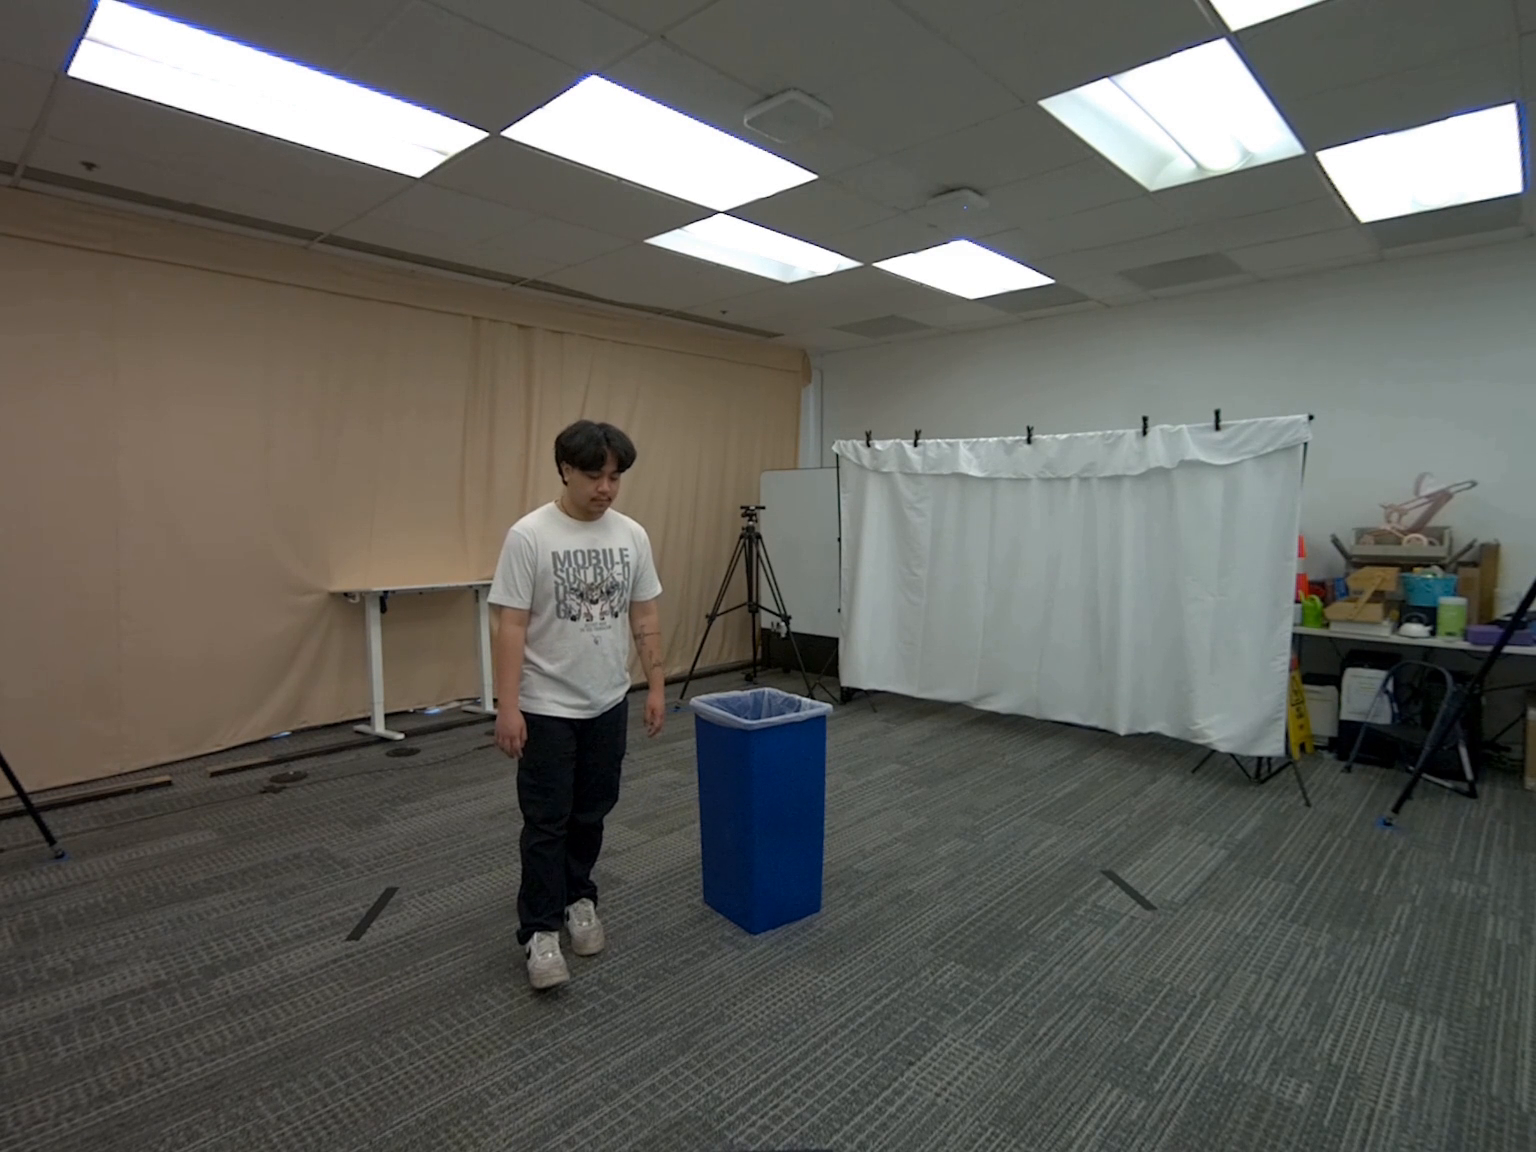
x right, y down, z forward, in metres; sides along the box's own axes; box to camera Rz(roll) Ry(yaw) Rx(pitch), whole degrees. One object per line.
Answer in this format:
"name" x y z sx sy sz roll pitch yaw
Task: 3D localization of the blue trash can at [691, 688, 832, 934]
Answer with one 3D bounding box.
"blue trash can" -0.025 0.792 2.907 0.363 0.712 0.390 -2 4 -37
